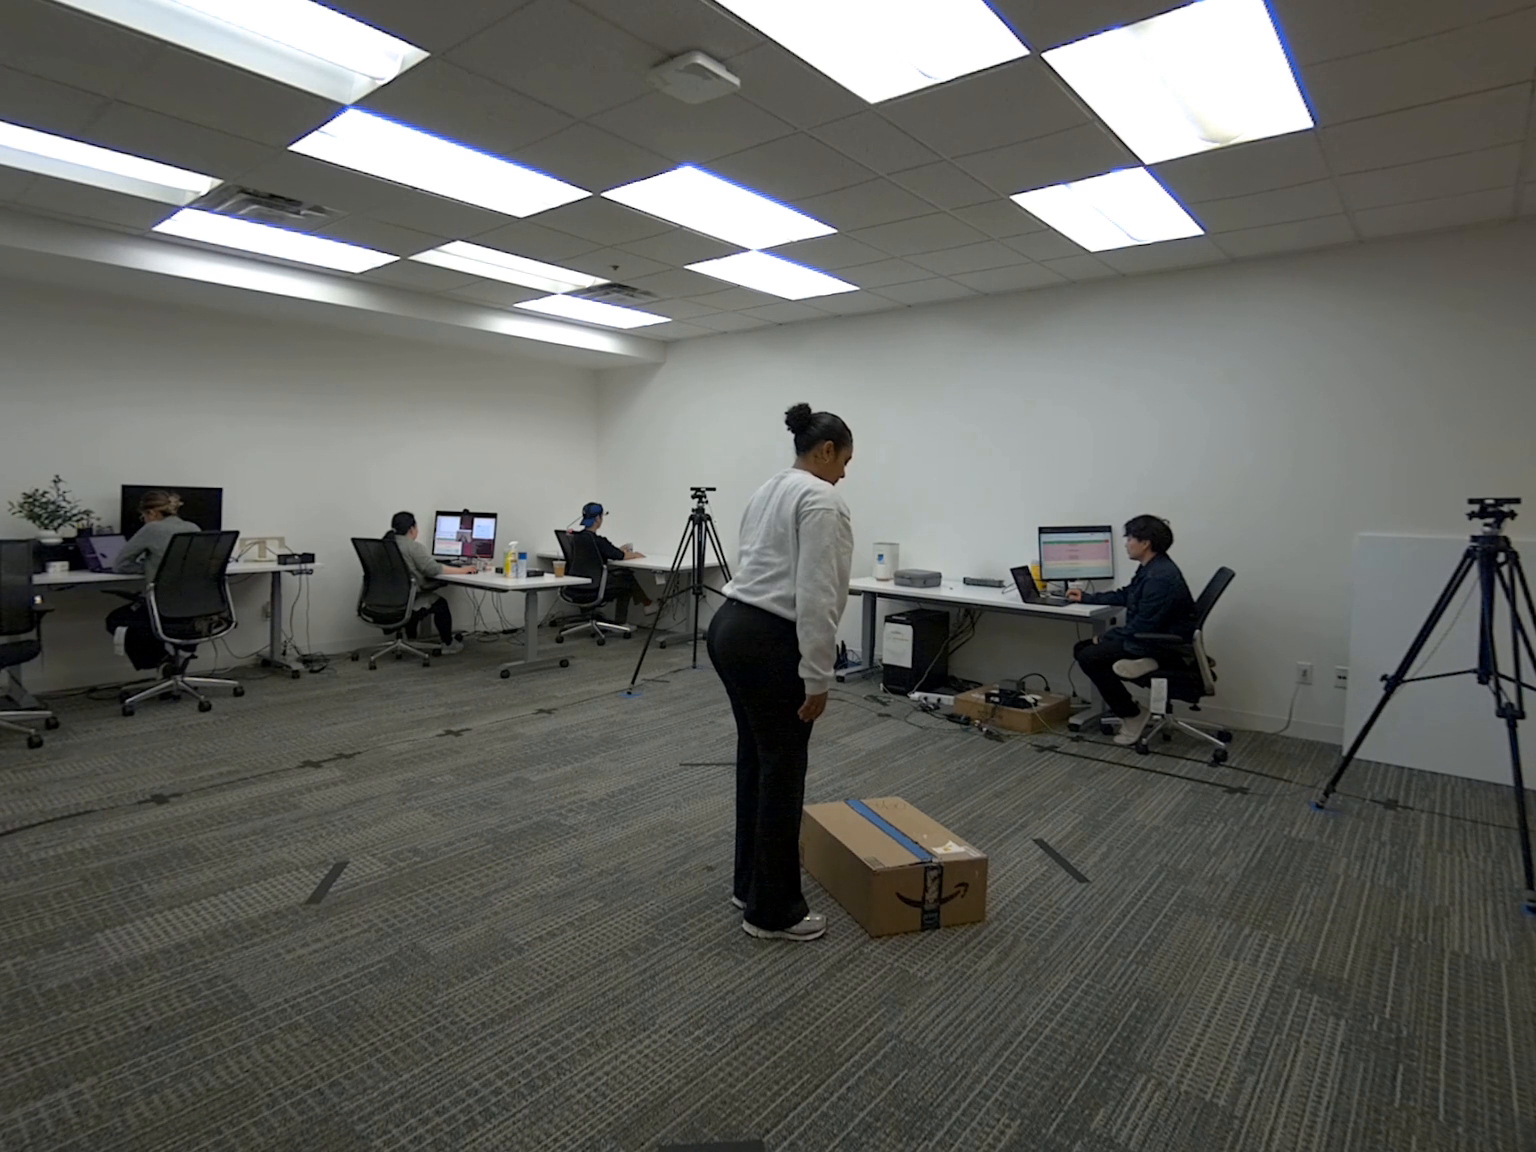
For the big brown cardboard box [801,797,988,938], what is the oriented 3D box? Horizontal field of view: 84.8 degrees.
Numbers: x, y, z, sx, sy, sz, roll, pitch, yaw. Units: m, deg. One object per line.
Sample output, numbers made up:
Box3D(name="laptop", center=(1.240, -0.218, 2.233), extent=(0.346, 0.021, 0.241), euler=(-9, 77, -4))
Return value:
Box3D(name="big brown cardboard box", center=(0.408, 0.981, 2.963), extent=(0.409, 0.232, 0.603), euler=(0, 5, -21))
